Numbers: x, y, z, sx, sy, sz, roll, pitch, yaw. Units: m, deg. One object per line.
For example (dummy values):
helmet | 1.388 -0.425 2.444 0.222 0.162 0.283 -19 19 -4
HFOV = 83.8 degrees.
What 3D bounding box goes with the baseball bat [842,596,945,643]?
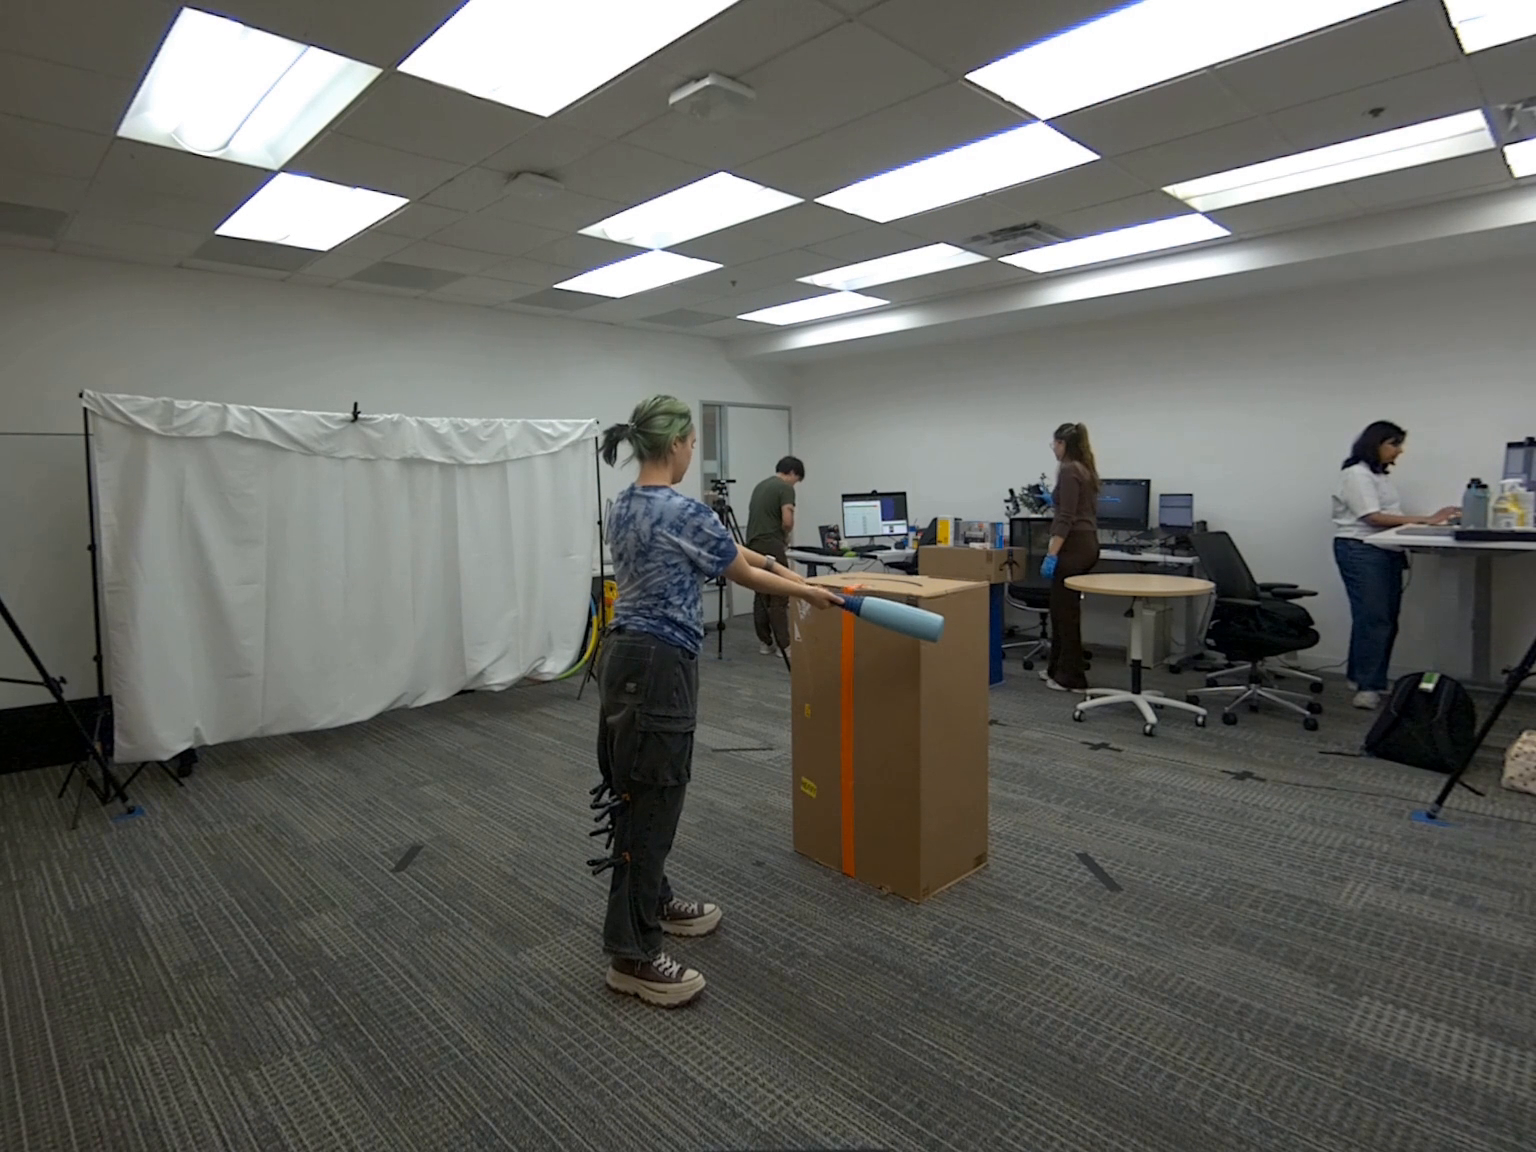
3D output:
baseball bat | 0.281 0.102 2.676 0.554 0.088 0.088 16 9 18
